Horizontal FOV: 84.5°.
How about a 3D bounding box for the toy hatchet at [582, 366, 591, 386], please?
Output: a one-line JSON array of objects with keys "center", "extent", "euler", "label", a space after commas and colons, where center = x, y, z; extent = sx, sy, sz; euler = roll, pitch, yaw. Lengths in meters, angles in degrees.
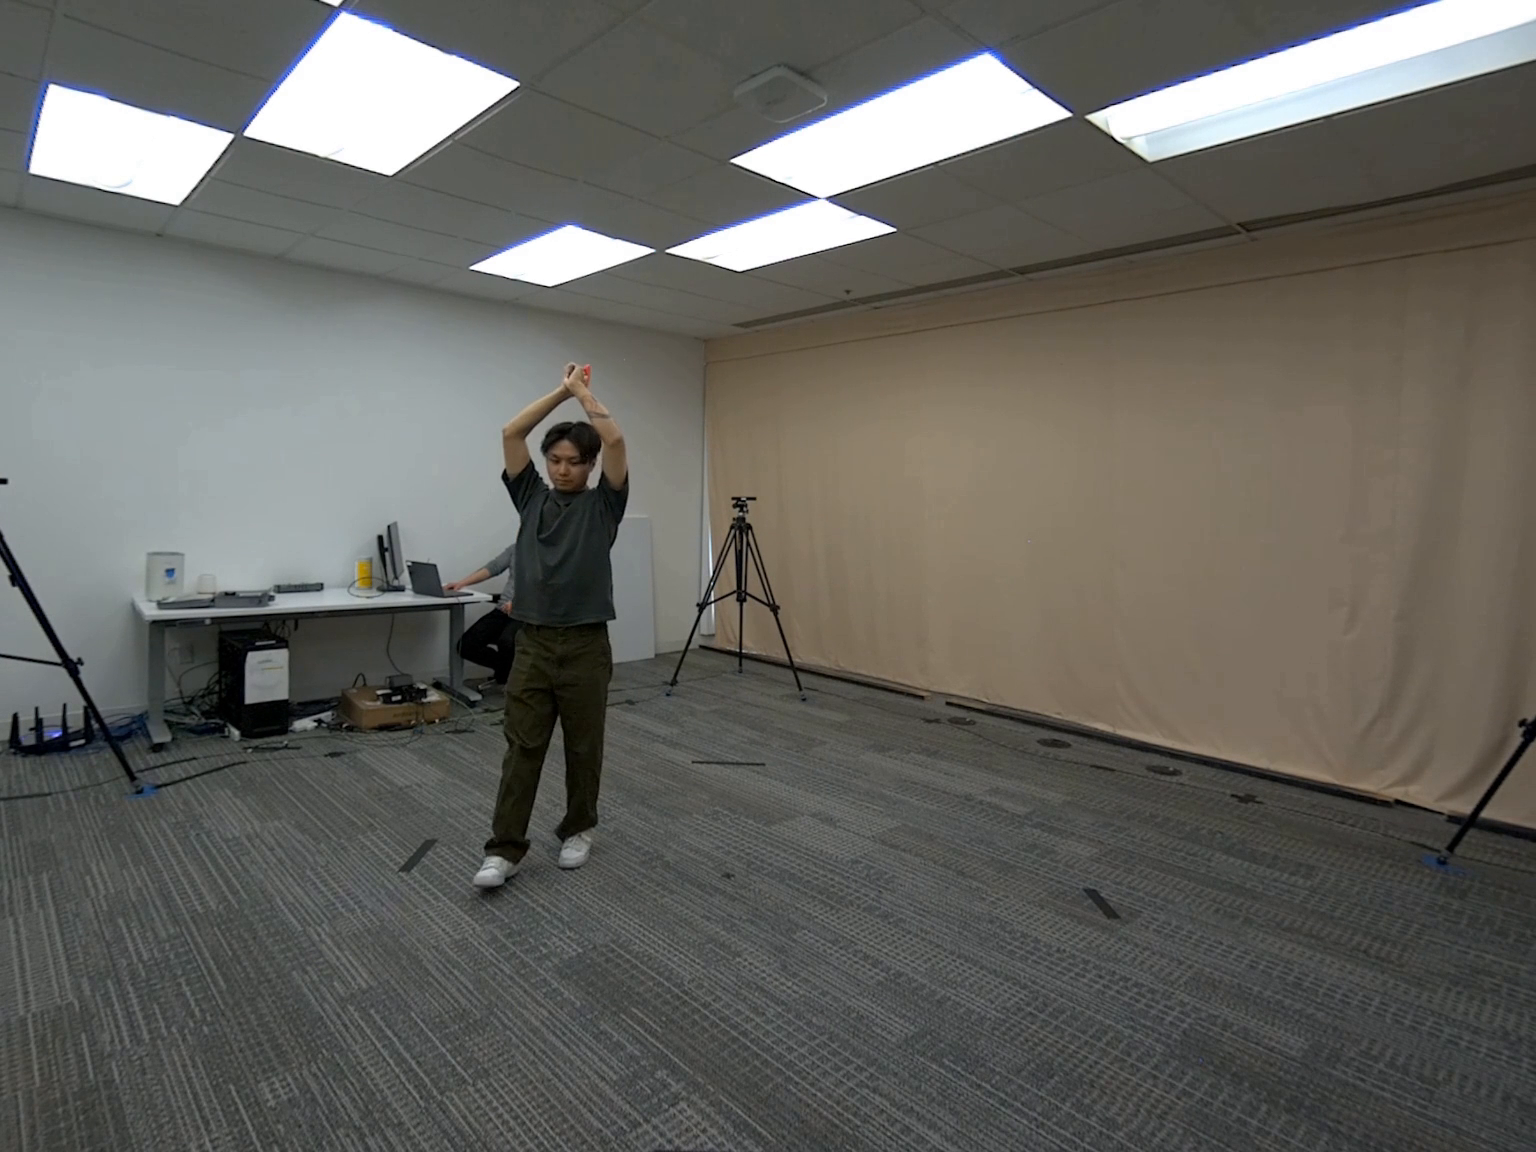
[{"center": [-0.720, -0.764, 3.136], "extent": [0.030, 0.132, 0.267], "euler": [17, -10, 2], "label": "toy hatchet"}]
